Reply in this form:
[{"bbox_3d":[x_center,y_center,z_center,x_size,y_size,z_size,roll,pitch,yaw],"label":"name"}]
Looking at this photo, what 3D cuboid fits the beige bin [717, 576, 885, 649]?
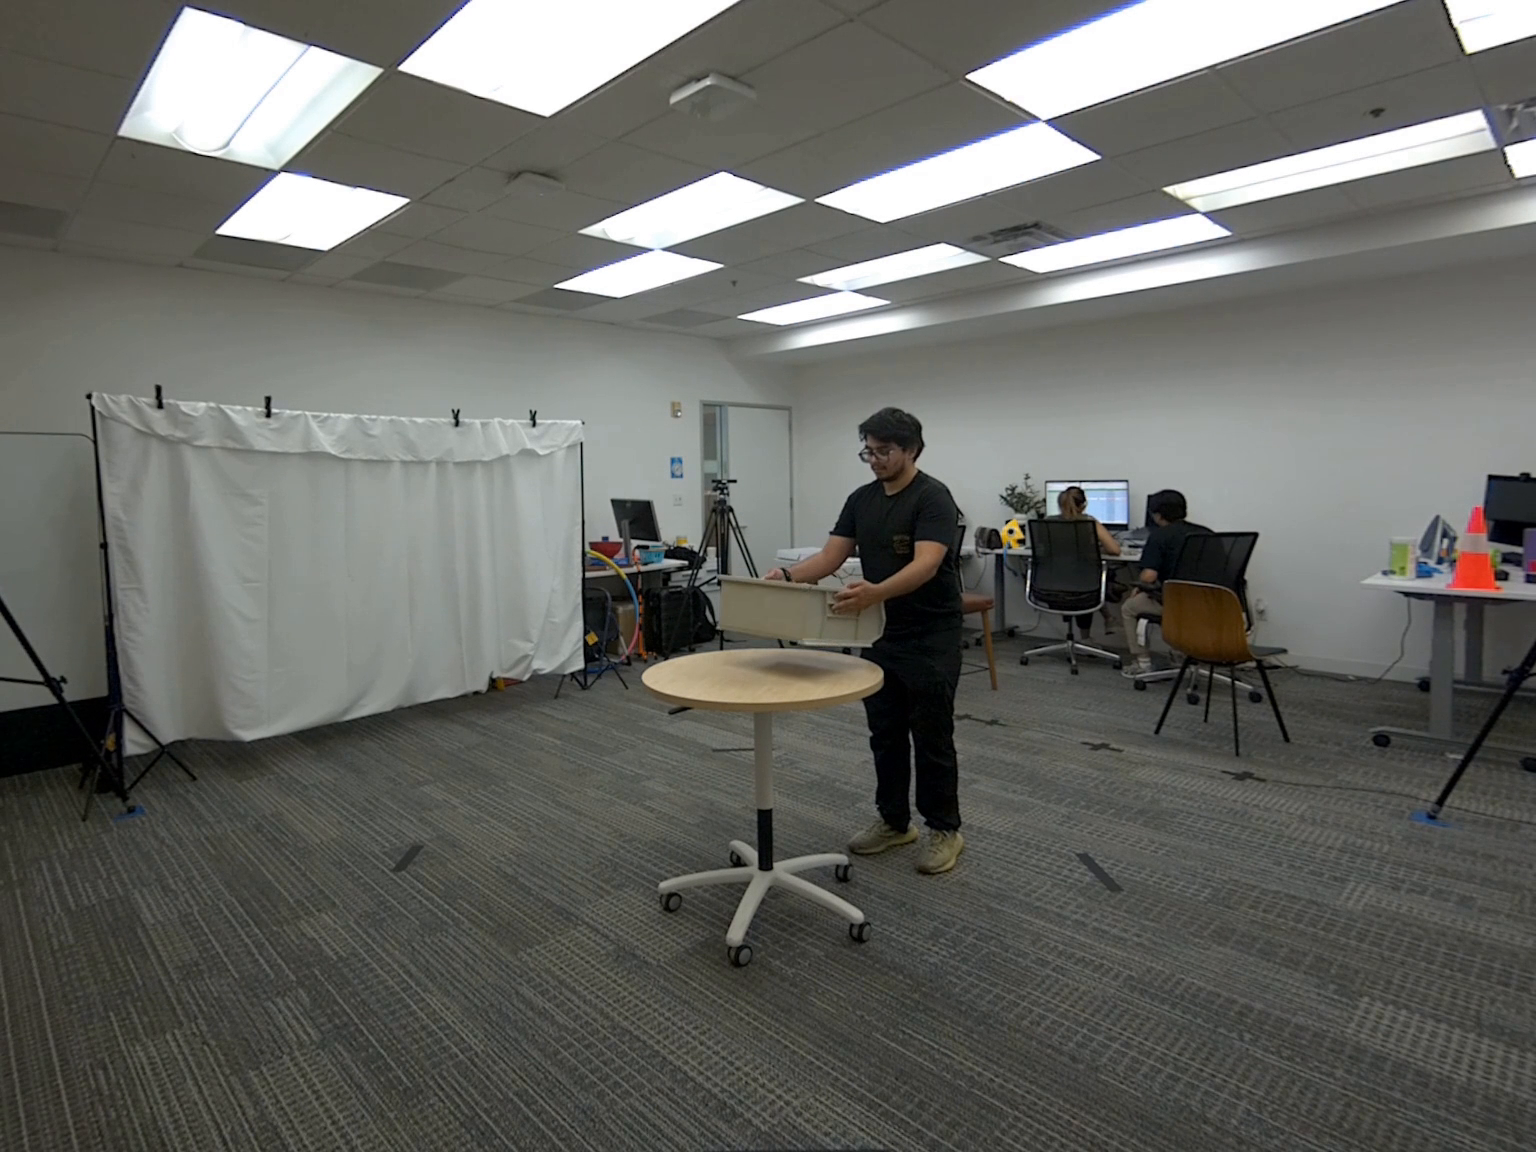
[{"bbox_3d":[0.101,0.112,2.804,0.366,0.189,0.436,3,3,-43],"label":"beige bin"}]
